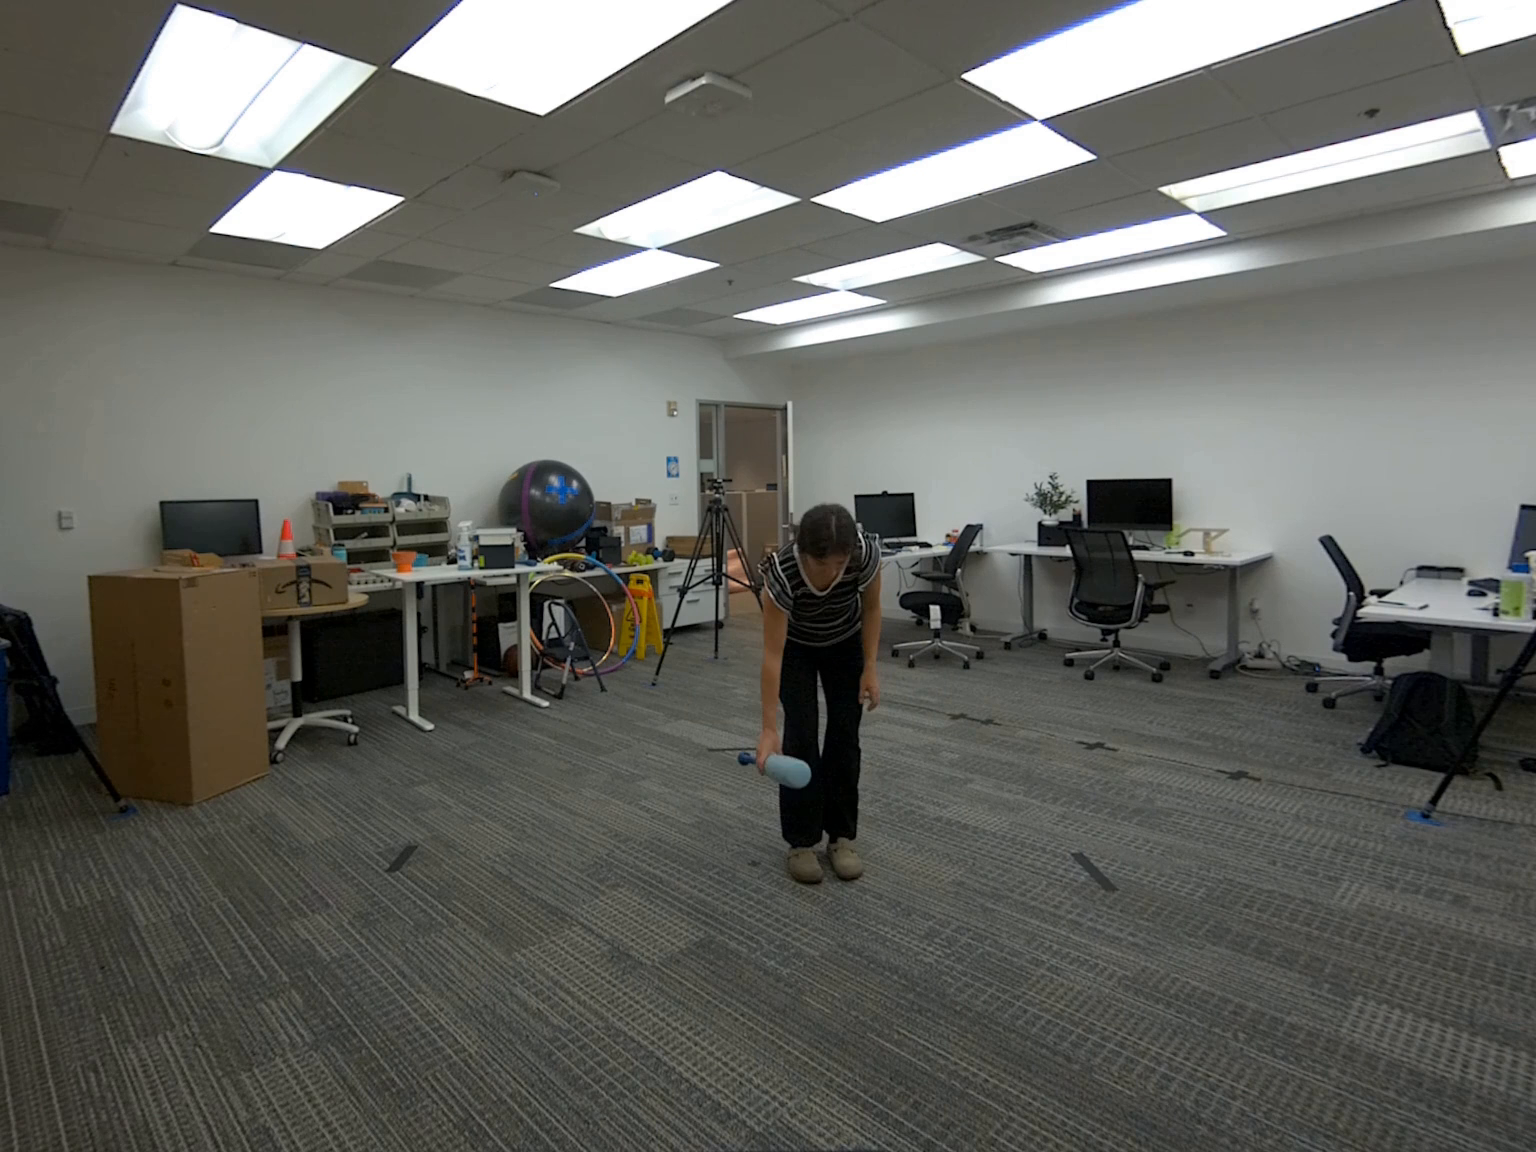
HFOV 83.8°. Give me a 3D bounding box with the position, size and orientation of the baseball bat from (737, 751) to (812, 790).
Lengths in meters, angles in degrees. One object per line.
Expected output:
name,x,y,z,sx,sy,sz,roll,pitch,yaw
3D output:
baseball bat,0.006,0.635,2.871,0.087,0.090,0.548,-2,-6,-19
